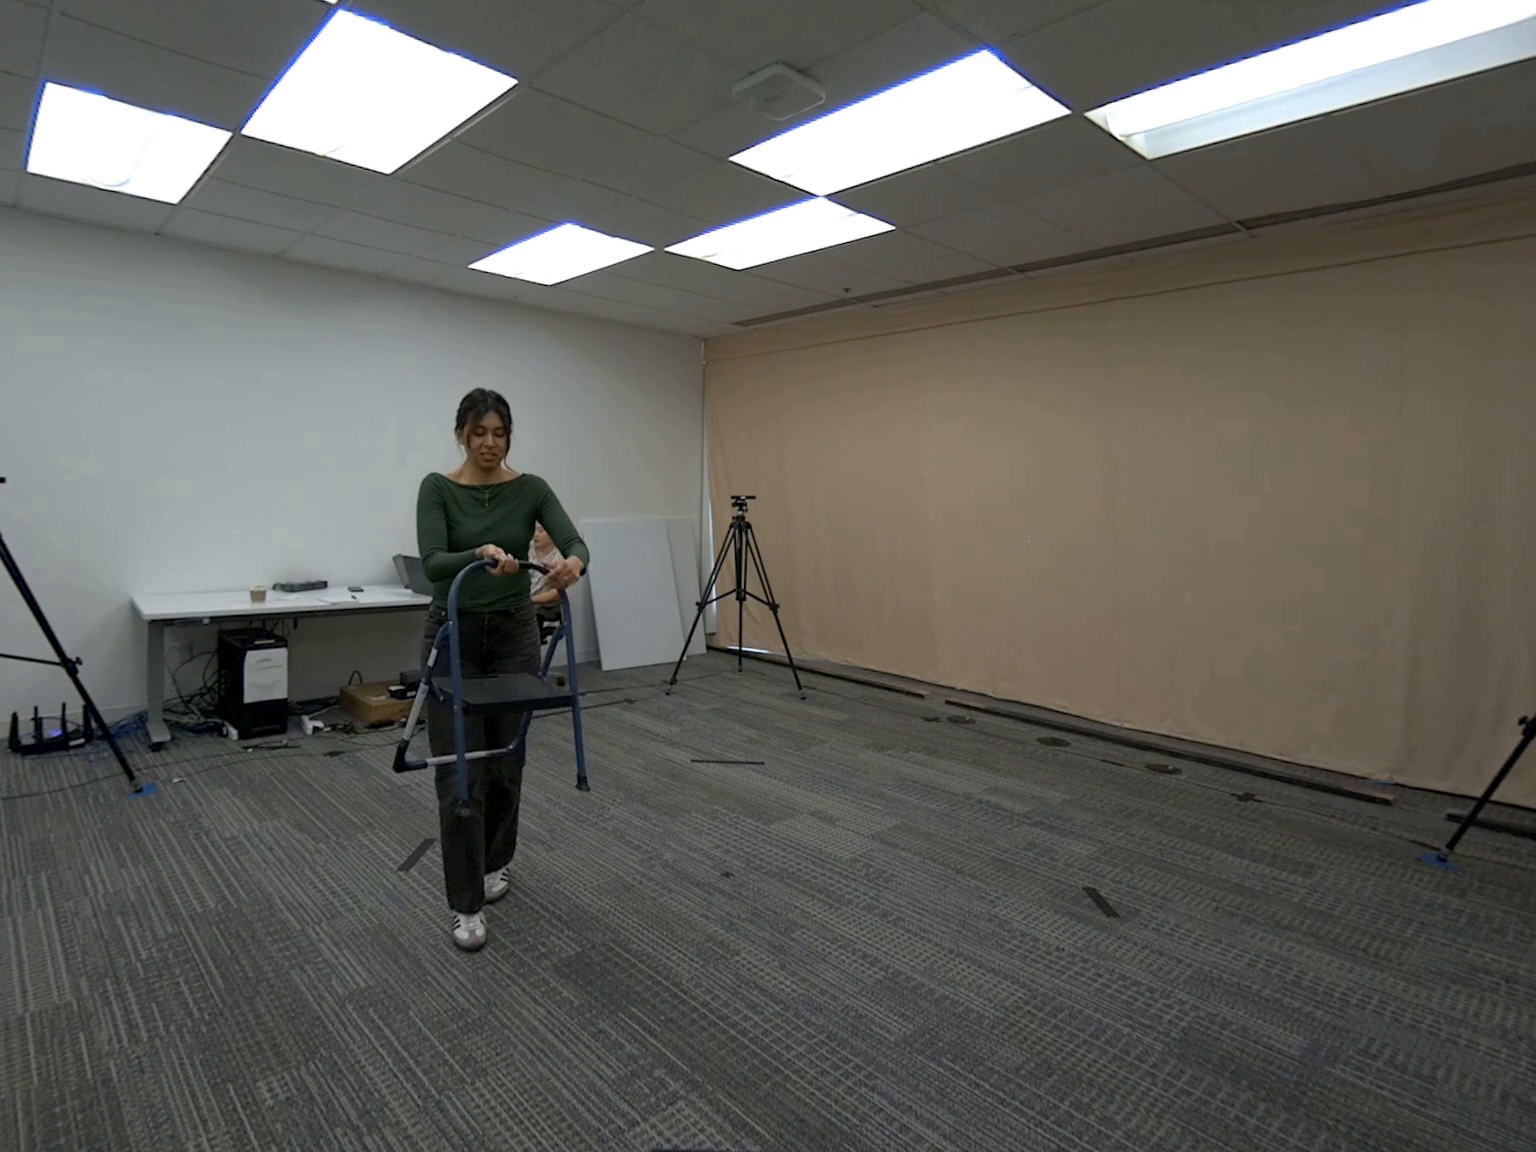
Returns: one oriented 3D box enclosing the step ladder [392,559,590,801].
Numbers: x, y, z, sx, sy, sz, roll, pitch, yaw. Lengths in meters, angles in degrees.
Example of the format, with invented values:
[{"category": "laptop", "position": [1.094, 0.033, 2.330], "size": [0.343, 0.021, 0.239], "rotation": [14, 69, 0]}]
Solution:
[{"category": "step ladder", "position": [-0.712, 0.266, 2.320], "size": [0.358, 0.605, 0.420], "rotation": [11, 3, 35]}]
